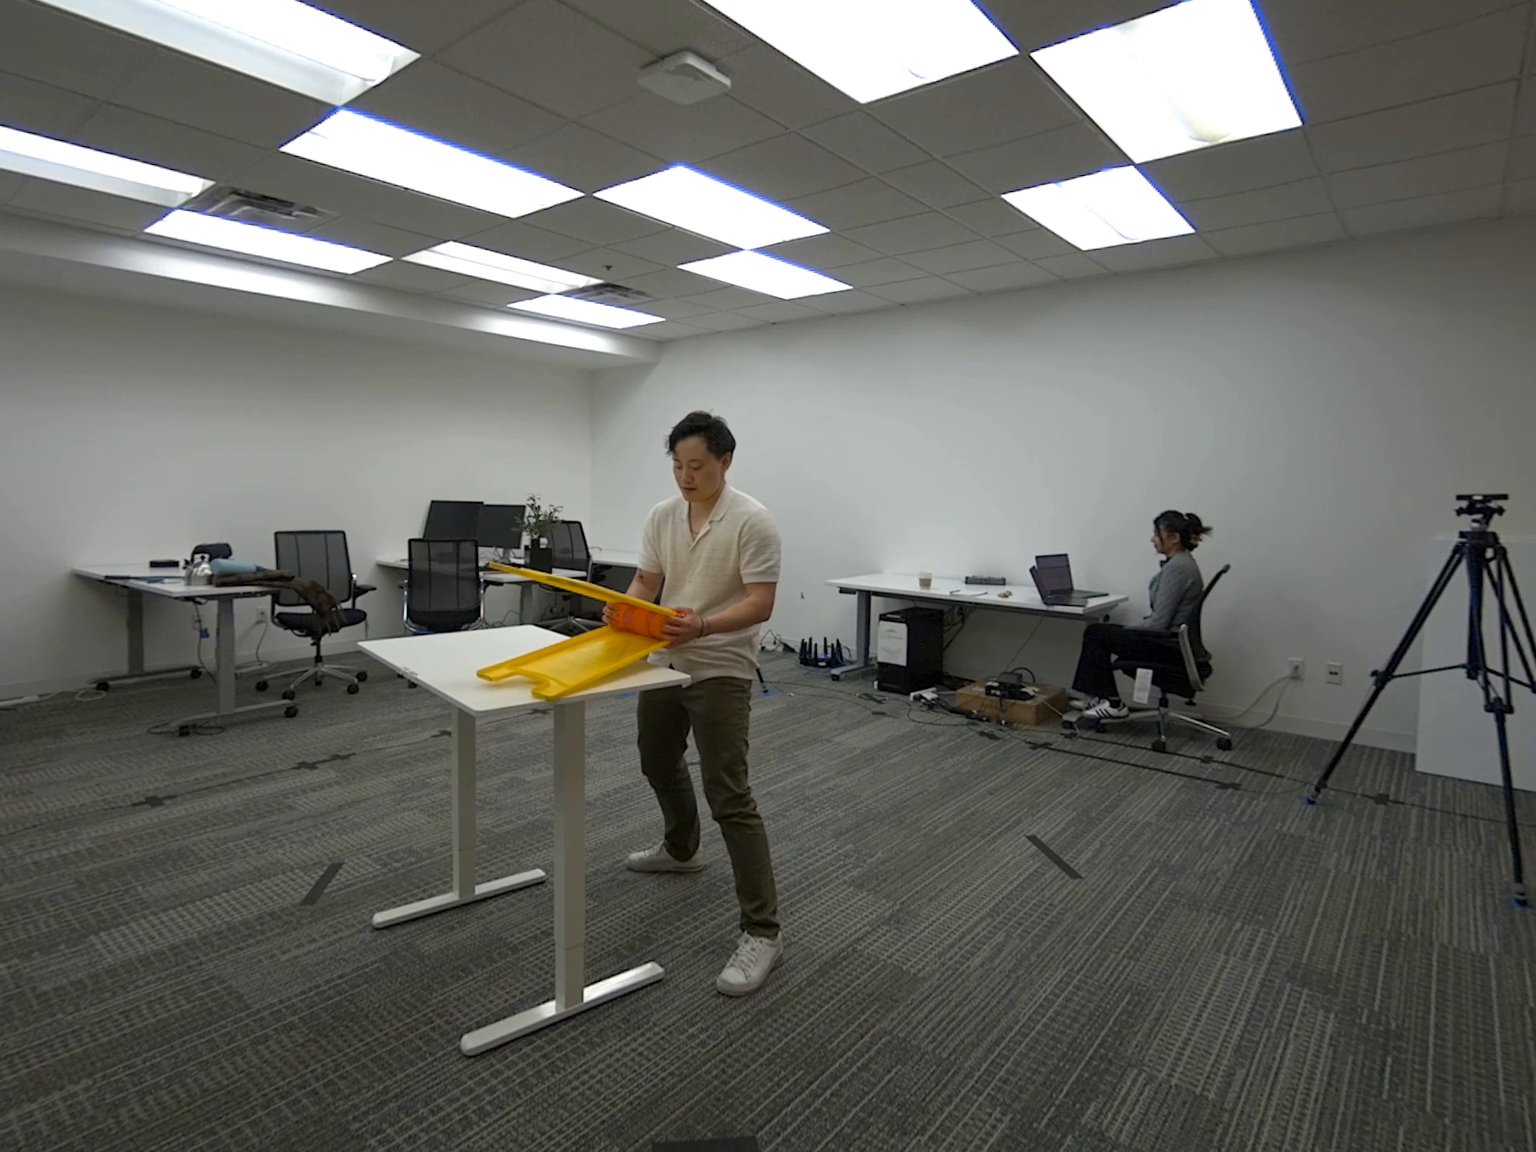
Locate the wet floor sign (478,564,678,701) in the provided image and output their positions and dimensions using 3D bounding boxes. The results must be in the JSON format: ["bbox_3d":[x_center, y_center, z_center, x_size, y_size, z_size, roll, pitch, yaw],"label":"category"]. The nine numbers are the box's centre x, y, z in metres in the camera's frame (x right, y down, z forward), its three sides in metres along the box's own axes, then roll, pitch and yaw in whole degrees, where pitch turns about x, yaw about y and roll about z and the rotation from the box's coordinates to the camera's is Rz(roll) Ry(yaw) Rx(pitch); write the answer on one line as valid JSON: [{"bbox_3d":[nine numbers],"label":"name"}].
[{"bbox_3d":[-0.458,0.127,2.353,0.292,0.289,0.627,9,5,32],"label":"wet floor sign"}]
